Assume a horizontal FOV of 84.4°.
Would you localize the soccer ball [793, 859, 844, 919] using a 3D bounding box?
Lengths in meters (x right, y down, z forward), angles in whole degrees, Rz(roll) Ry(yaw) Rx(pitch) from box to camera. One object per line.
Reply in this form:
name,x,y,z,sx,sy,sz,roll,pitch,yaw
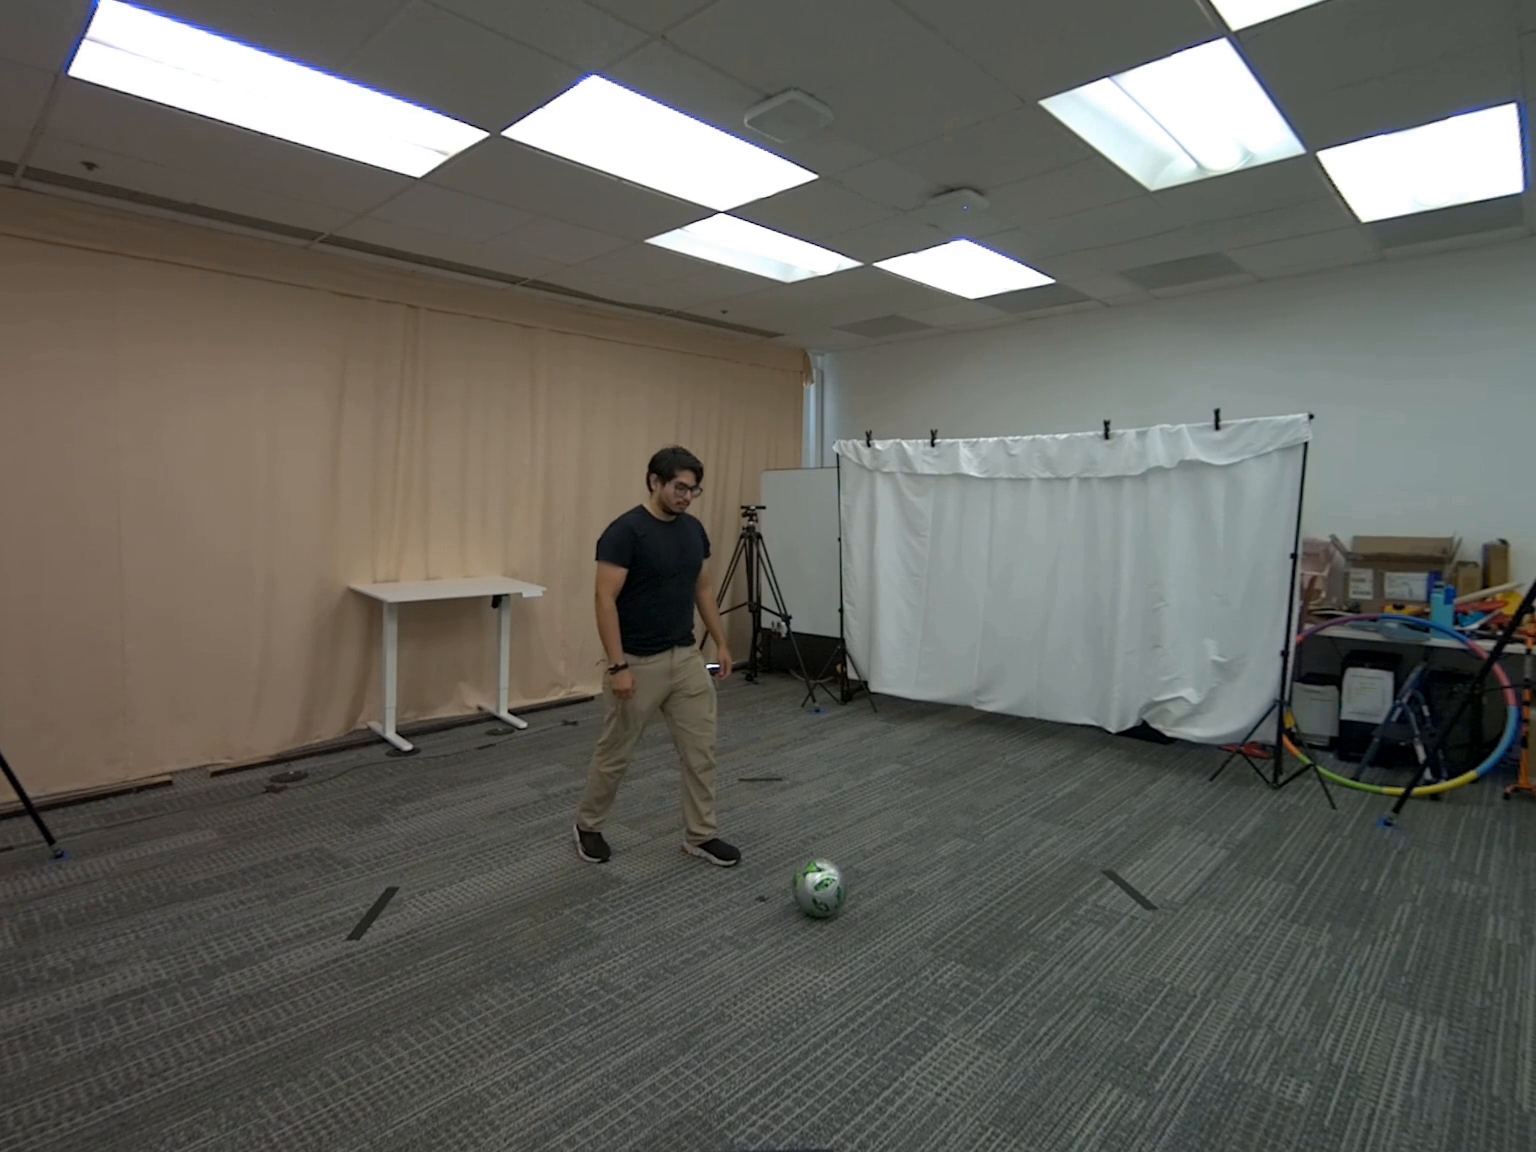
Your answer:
soccer ball,0.180,1.061,2.864,0.187,0.187,0.188,0,4,-2
